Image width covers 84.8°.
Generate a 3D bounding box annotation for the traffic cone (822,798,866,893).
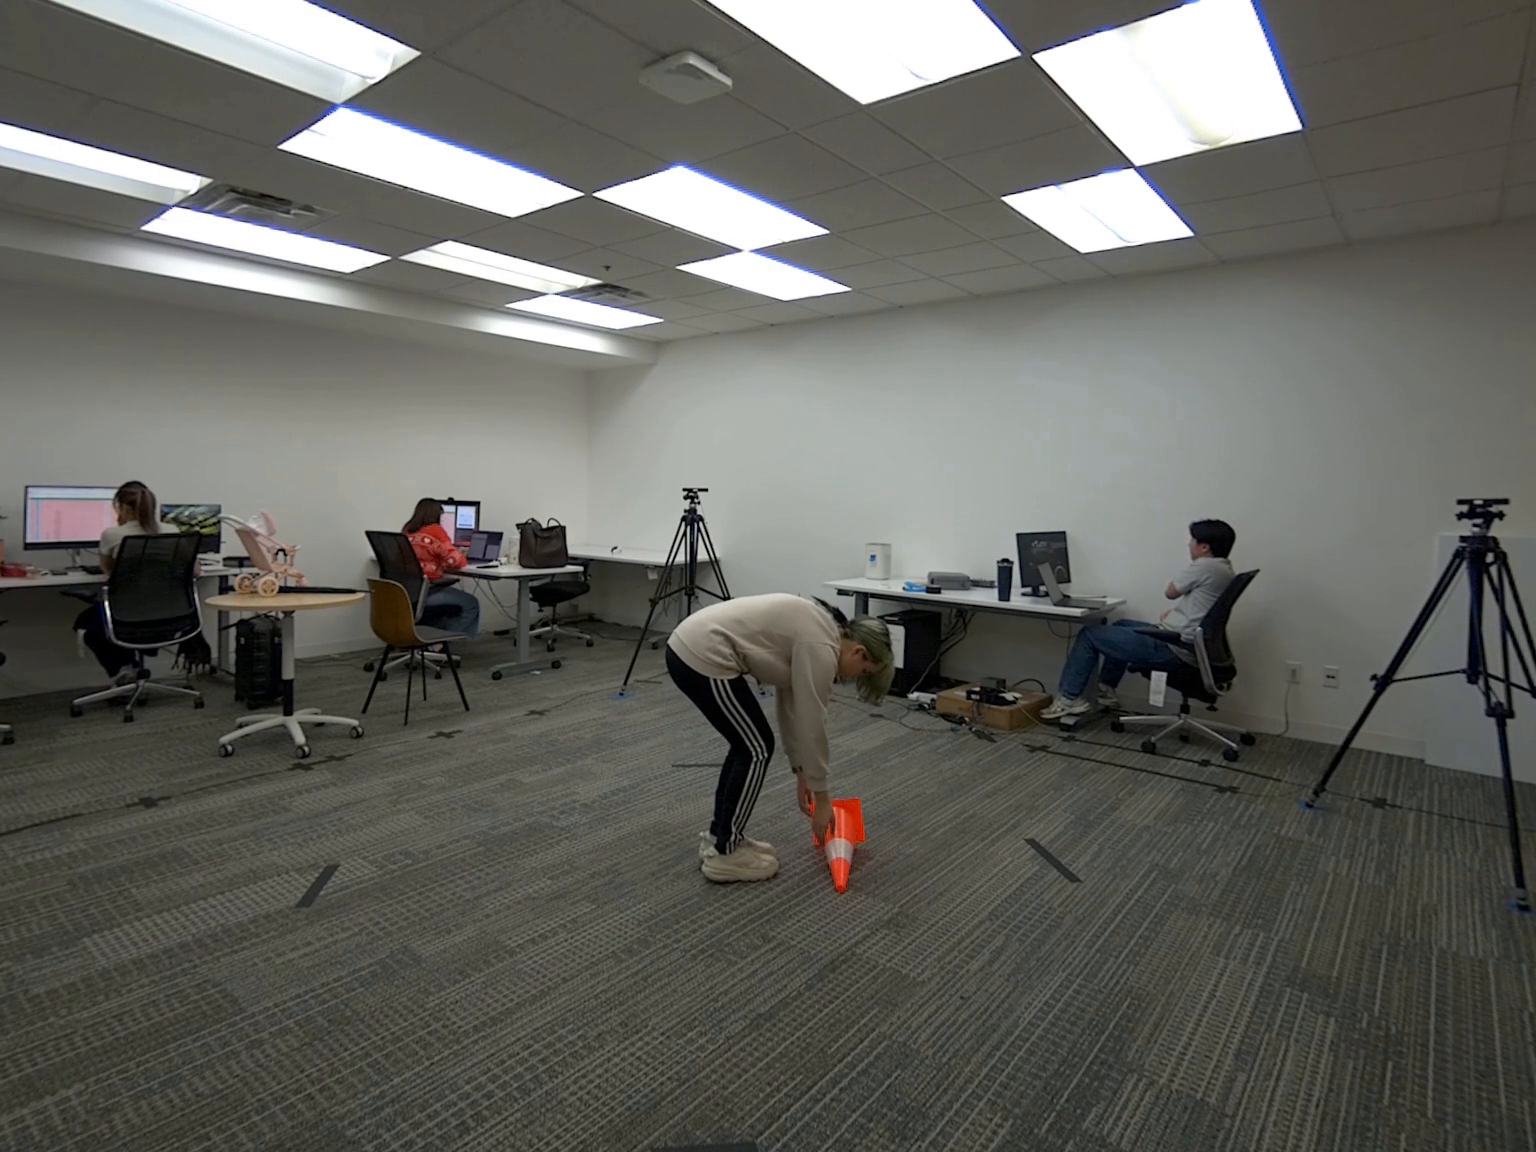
[{"bbox_3d":[0.263,1.030,3.128,0.205,0.201,0.388,-8,20,7],"label":"traffic cone"}]
